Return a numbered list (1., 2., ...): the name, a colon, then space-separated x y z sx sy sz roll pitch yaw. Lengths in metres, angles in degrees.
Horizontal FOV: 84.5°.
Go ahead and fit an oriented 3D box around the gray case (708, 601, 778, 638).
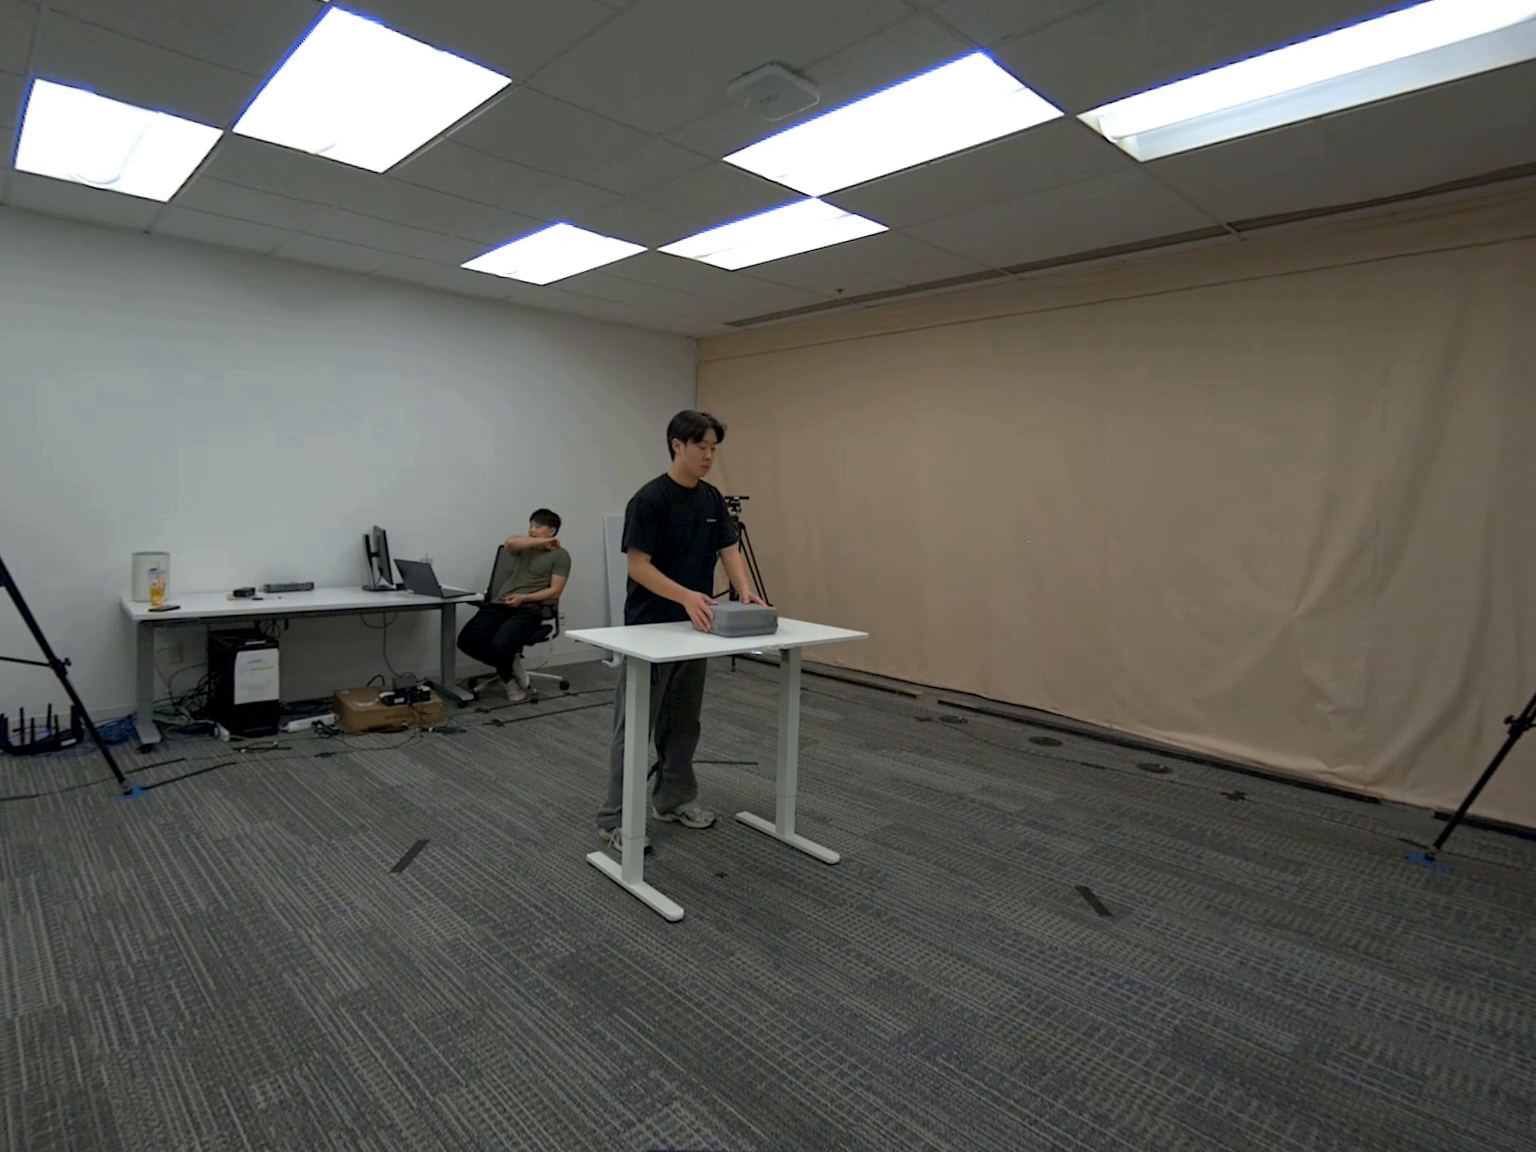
1. gray case: -0.116 0.165 3.205 0.281 0.103 0.270 -1 5 -36
